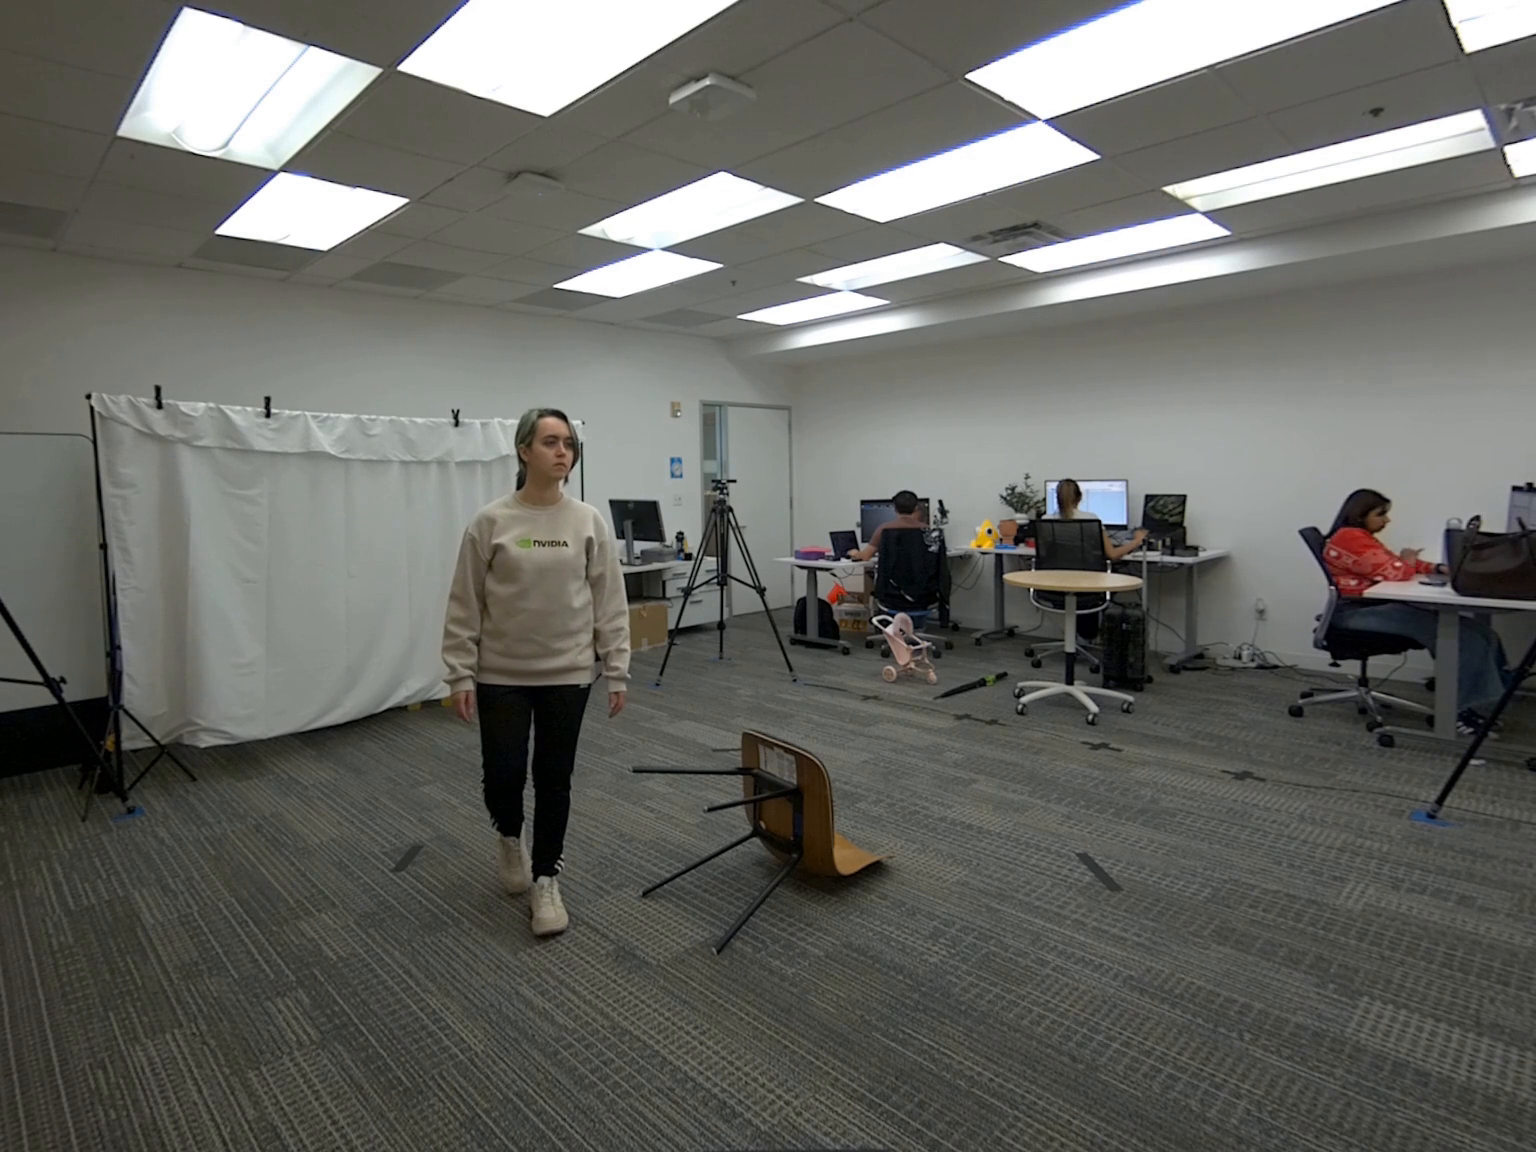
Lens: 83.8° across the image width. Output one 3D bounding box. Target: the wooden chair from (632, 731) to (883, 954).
[{"bbox_3d":[0.028,0.811,2.915,0.854,0.521,0.492,-4,6,-37],"label":"wooden chair"}]
